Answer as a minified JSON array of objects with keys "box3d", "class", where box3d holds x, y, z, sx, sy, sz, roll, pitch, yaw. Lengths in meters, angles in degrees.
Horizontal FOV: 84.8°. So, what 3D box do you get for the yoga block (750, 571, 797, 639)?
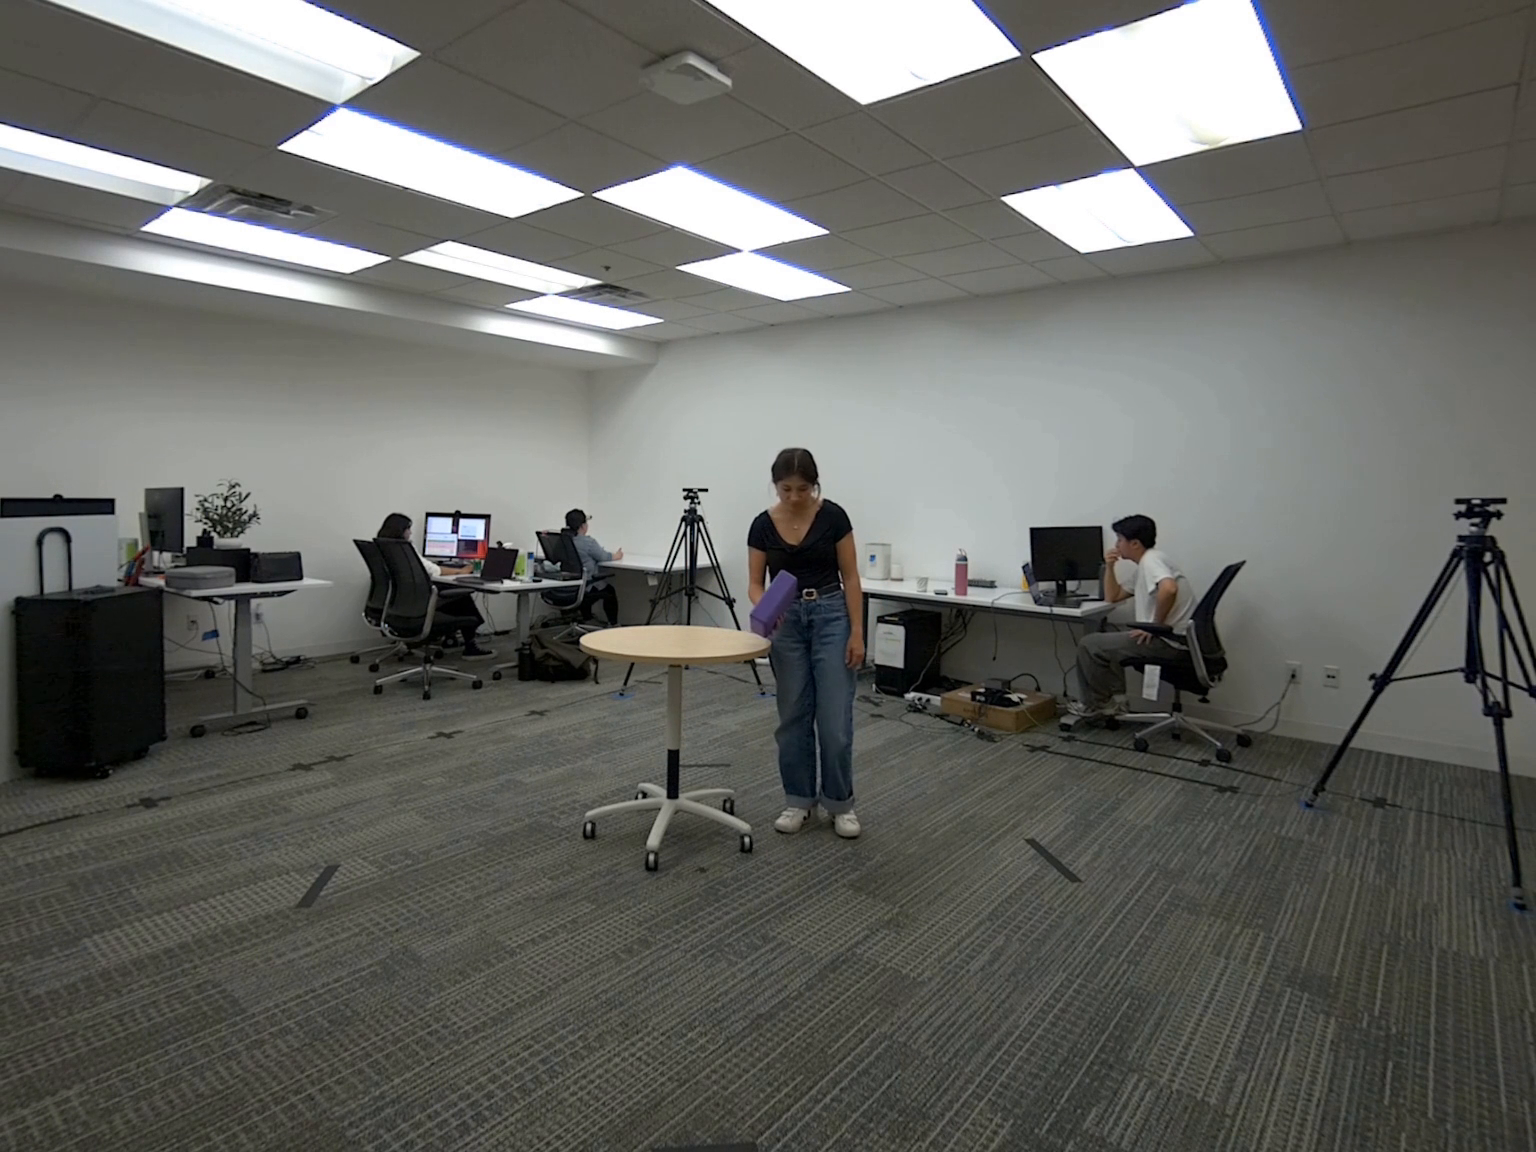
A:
[{"box3d":[0.021,0.094,3.251,0.078,0.230,0.145,30,-21,18],"class":"yoga block"}]
